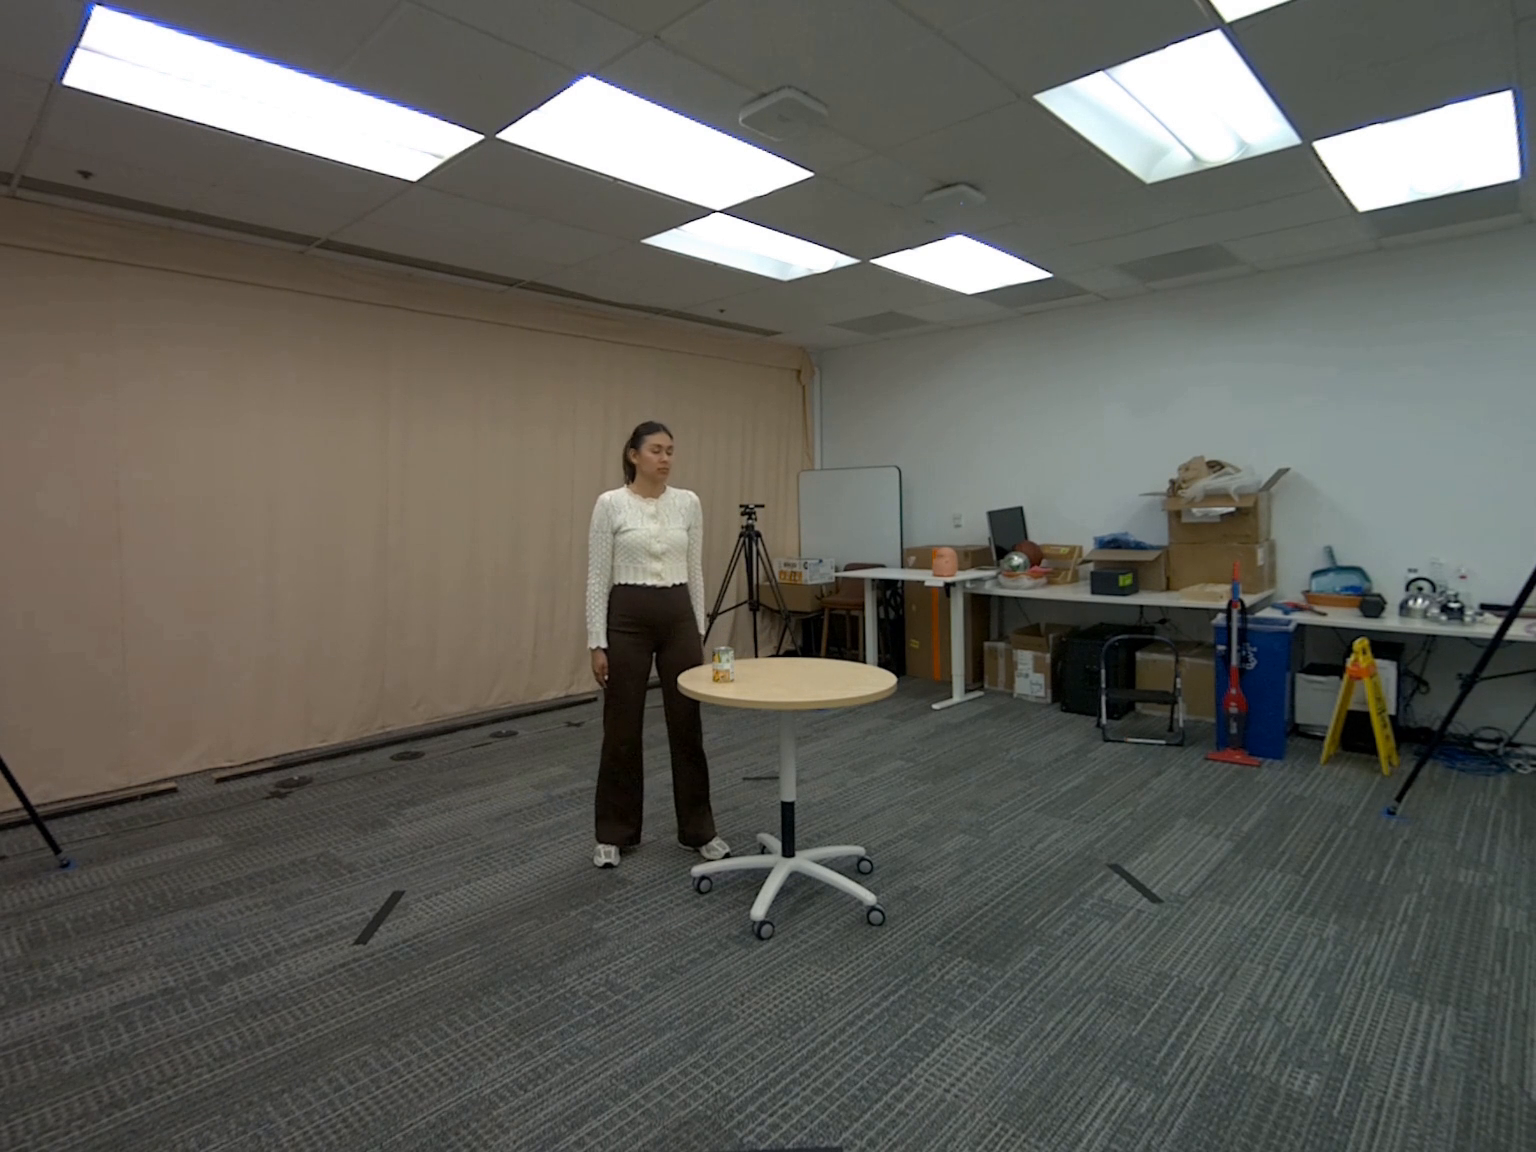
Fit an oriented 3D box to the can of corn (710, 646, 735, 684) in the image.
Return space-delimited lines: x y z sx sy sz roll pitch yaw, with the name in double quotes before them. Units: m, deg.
"can of corn" -0.151 0.305 2.909 0.074 0.110 0.074 -1 6 -2
